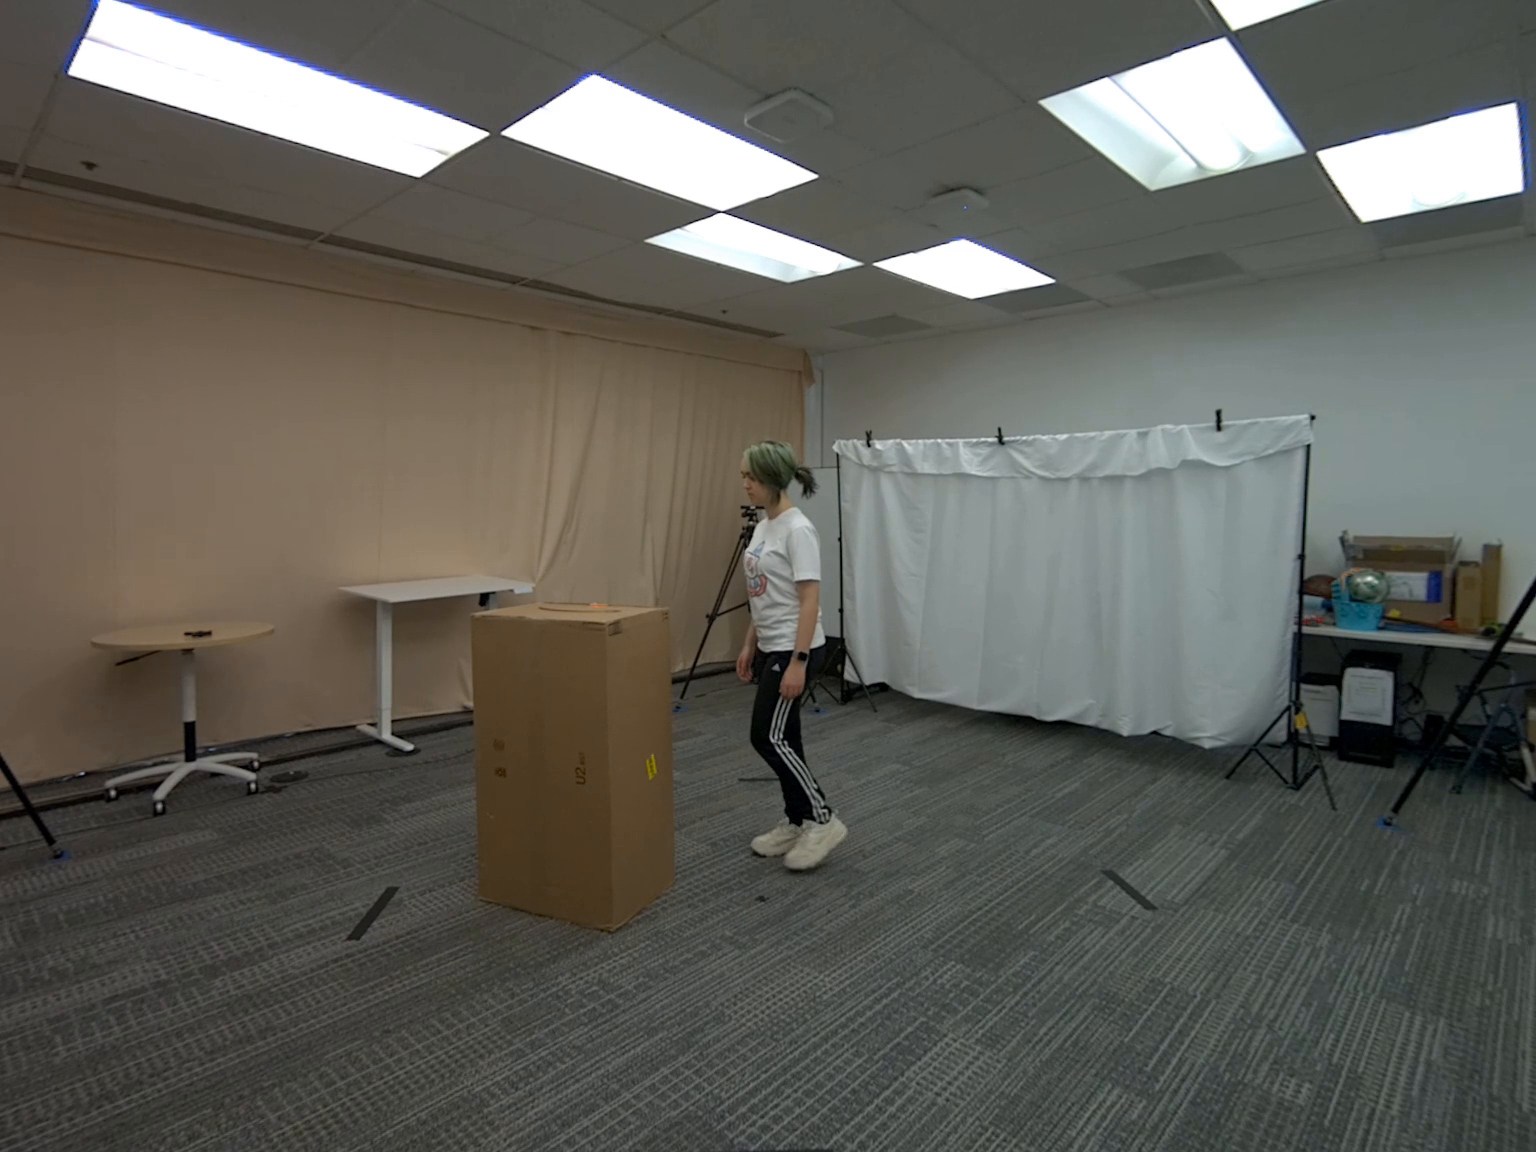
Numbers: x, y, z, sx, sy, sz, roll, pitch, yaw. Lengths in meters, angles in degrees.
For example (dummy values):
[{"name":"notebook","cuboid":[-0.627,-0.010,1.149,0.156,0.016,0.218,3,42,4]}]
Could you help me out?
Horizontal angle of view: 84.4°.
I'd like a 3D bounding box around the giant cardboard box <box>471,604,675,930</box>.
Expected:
[{"name":"giant cardboard box","cuboid":[-0.694,0.637,3.038,0.592,1.024,0.416,0,2,25]}]
